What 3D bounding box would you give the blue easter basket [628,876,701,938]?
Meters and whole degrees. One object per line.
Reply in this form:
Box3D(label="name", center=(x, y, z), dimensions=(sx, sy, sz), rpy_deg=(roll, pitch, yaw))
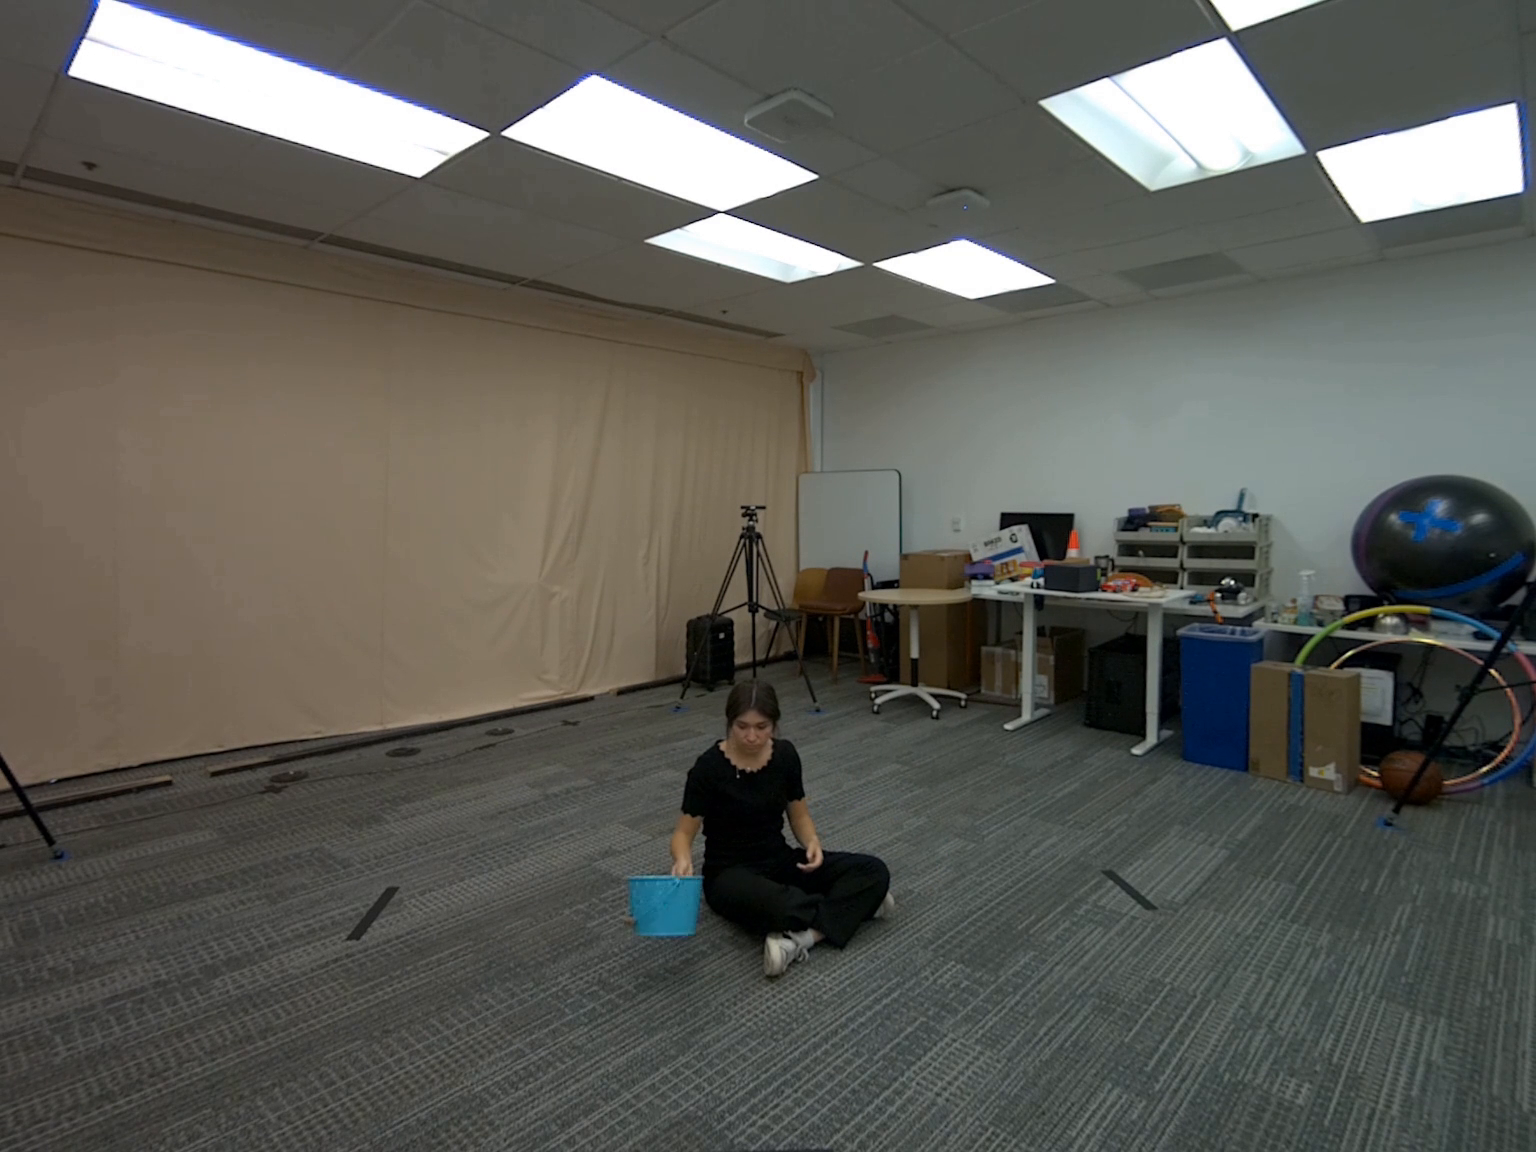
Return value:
Box3D(label="blue easter basket", center=(-0.304, 0.948, 2.460), dimensions=(0.243, 0.157, 0.241), rpy_deg=(1, -18, -1))
